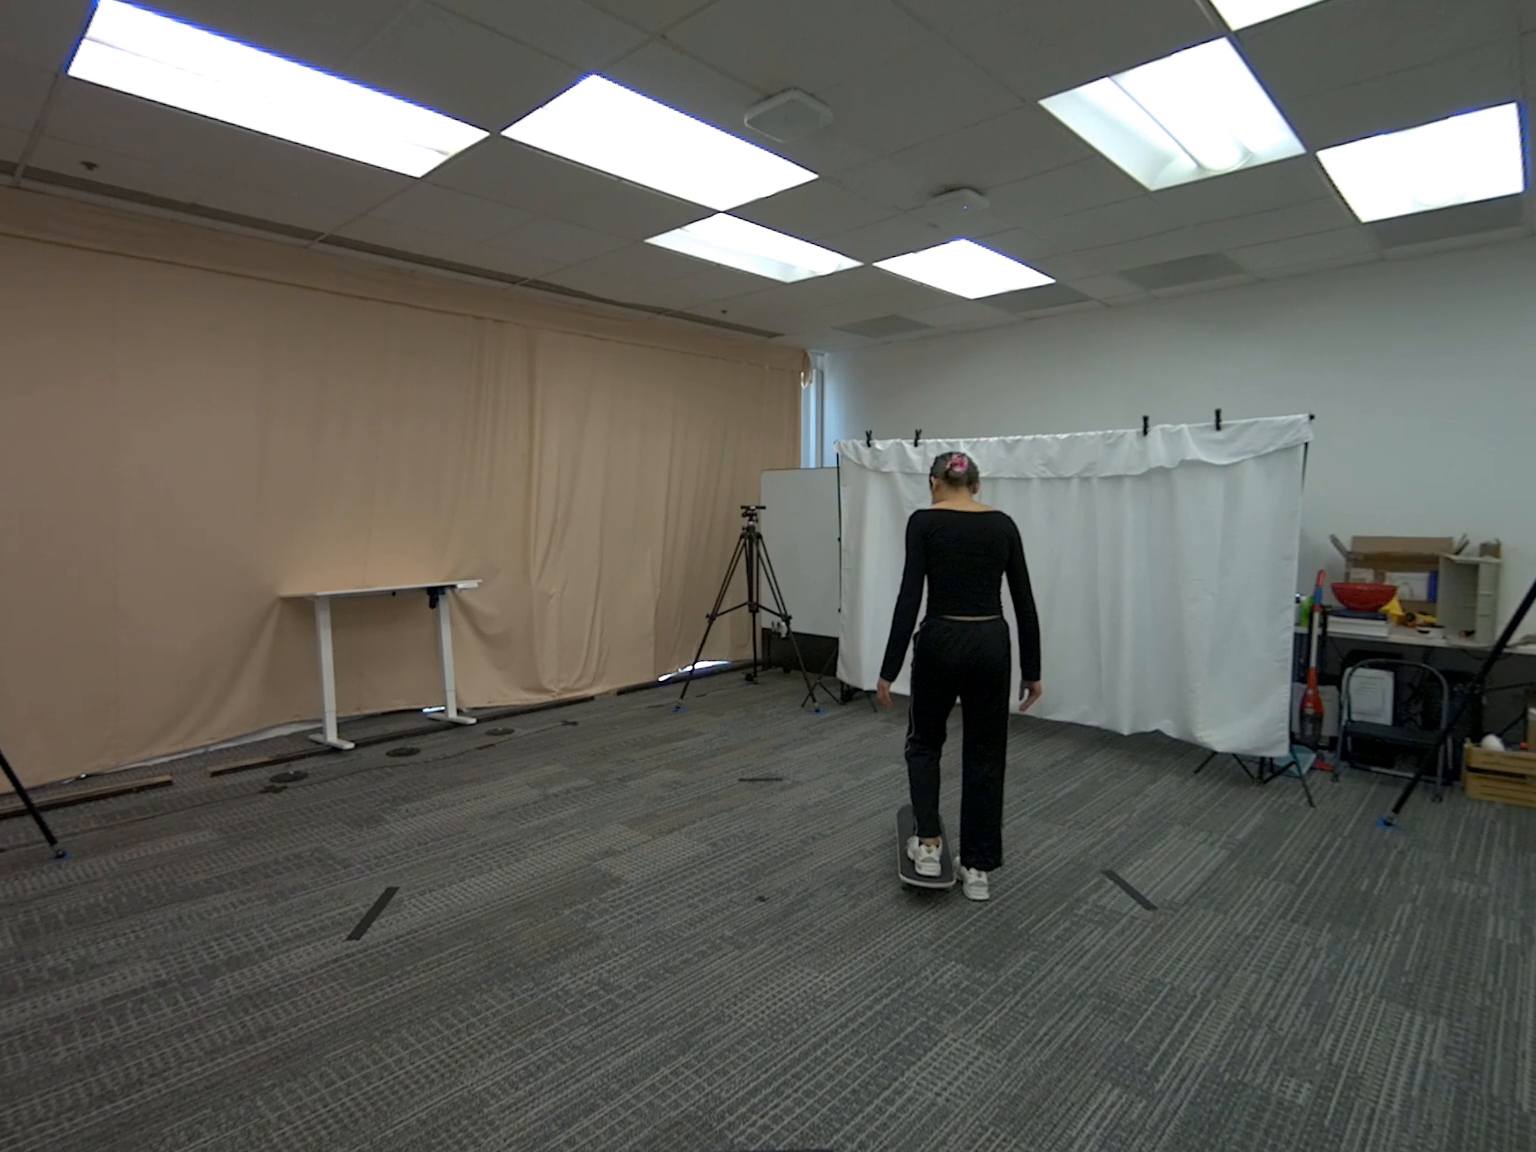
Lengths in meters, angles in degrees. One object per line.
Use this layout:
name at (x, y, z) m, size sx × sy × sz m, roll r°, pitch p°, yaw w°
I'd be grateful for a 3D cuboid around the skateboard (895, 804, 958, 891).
skateboard at (0.601, 1.063, 3.244) m, size 0.195 × 0.110 × 0.780 m, roll 1°, pitch 5°, yaw 6°
